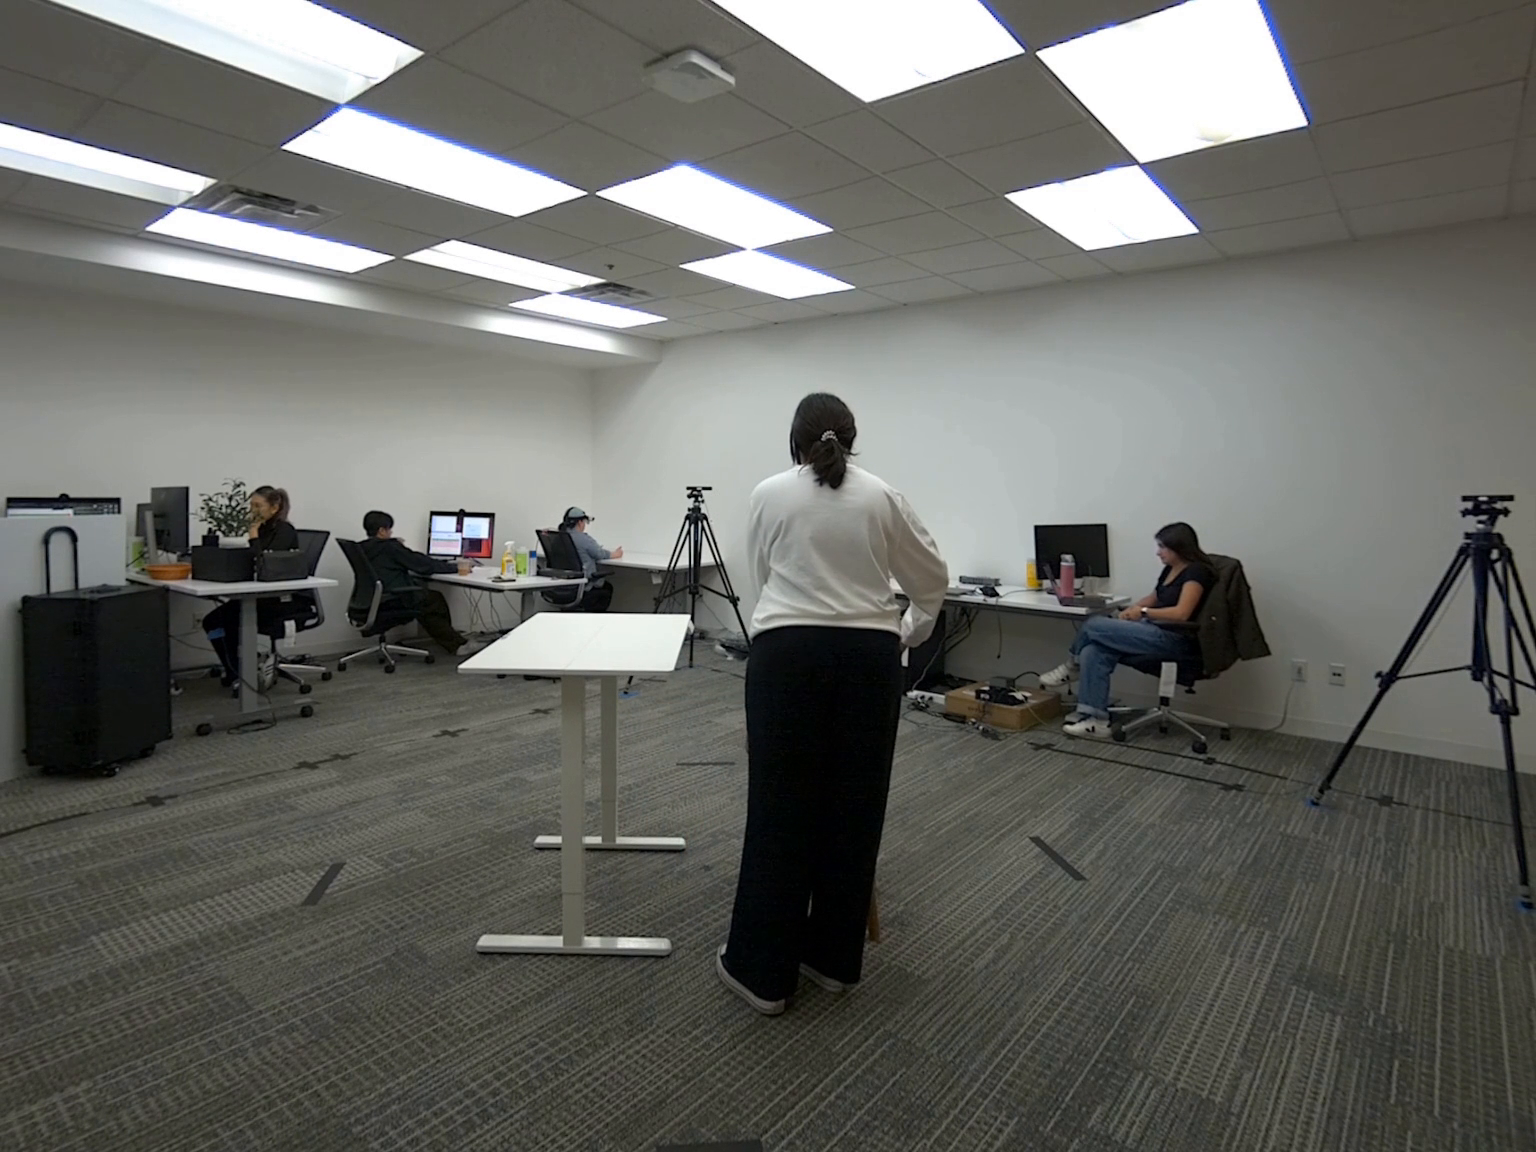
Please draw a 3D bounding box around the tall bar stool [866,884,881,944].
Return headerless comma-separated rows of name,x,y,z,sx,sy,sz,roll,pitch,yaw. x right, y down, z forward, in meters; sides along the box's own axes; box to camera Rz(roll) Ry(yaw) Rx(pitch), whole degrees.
tall bar stool,0.162,0.666,2.817,0.472,0.887,0.454,4,4,8
